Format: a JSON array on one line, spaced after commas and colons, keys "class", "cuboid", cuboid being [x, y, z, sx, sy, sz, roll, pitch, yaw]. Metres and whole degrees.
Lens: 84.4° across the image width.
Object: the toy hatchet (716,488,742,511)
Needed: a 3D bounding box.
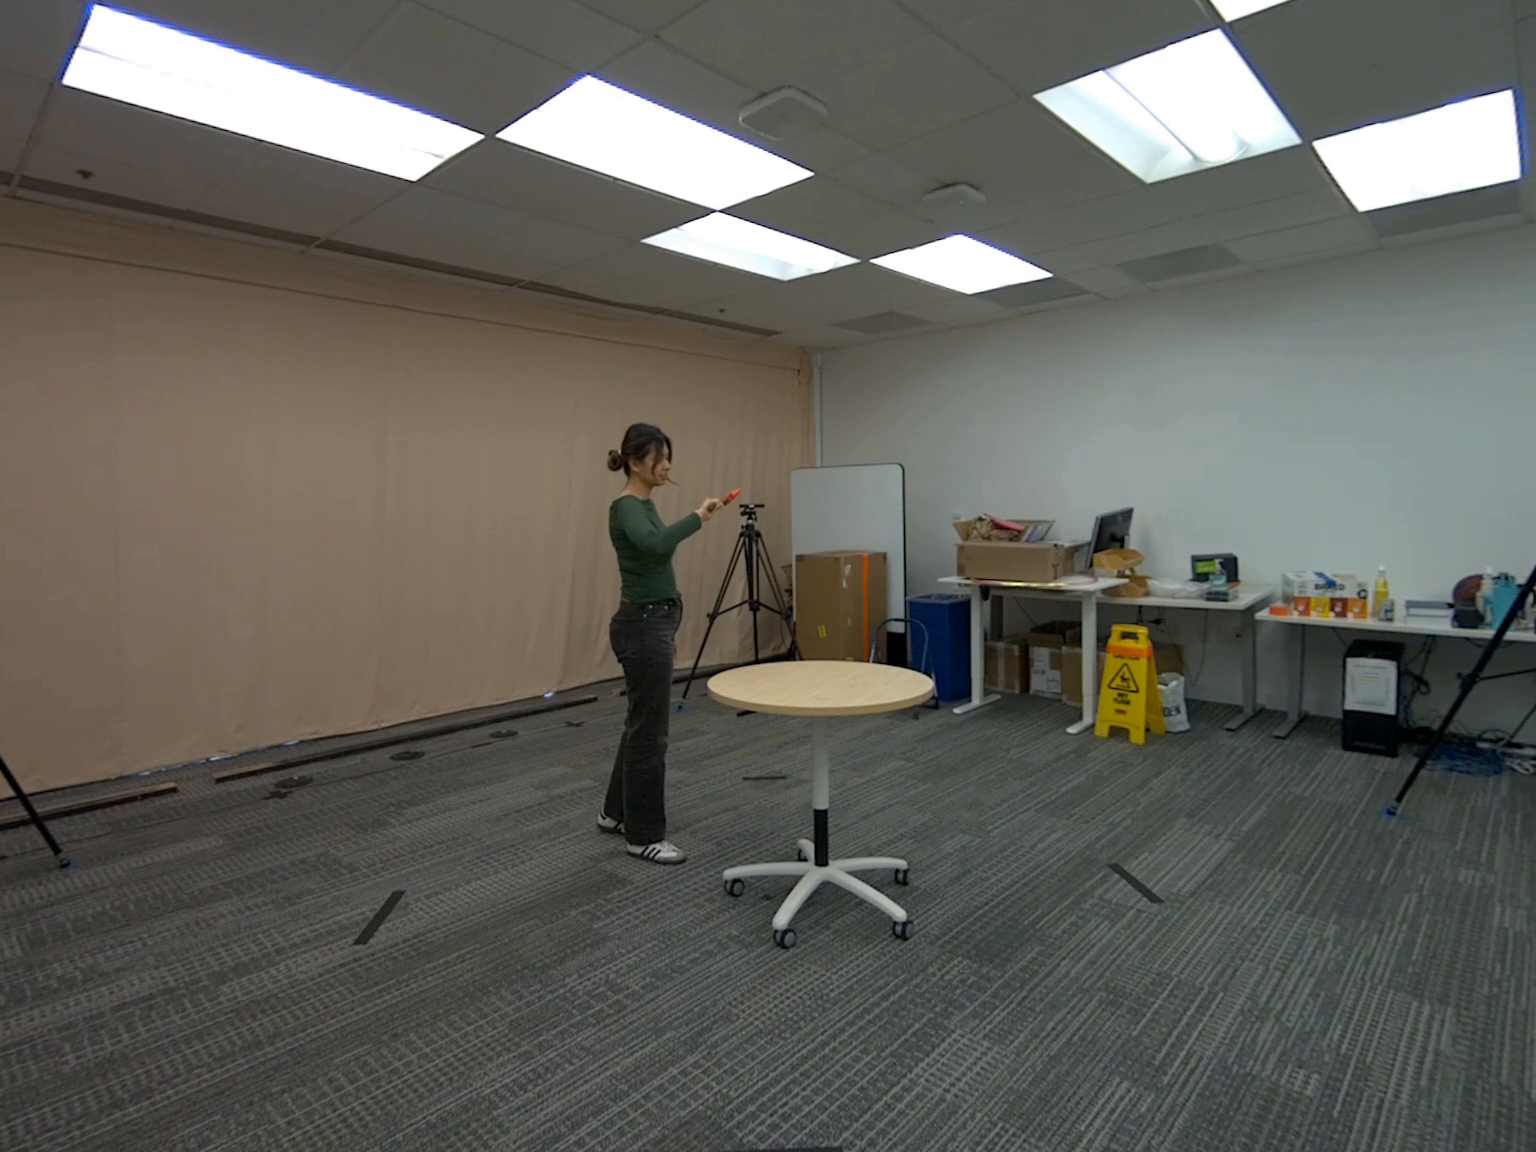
[{"class": "toy hatchet", "cuboid": [-0.155, -0.287, 3.211, 0.131, 0.029, 0.271, -35, 9, 7]}]
